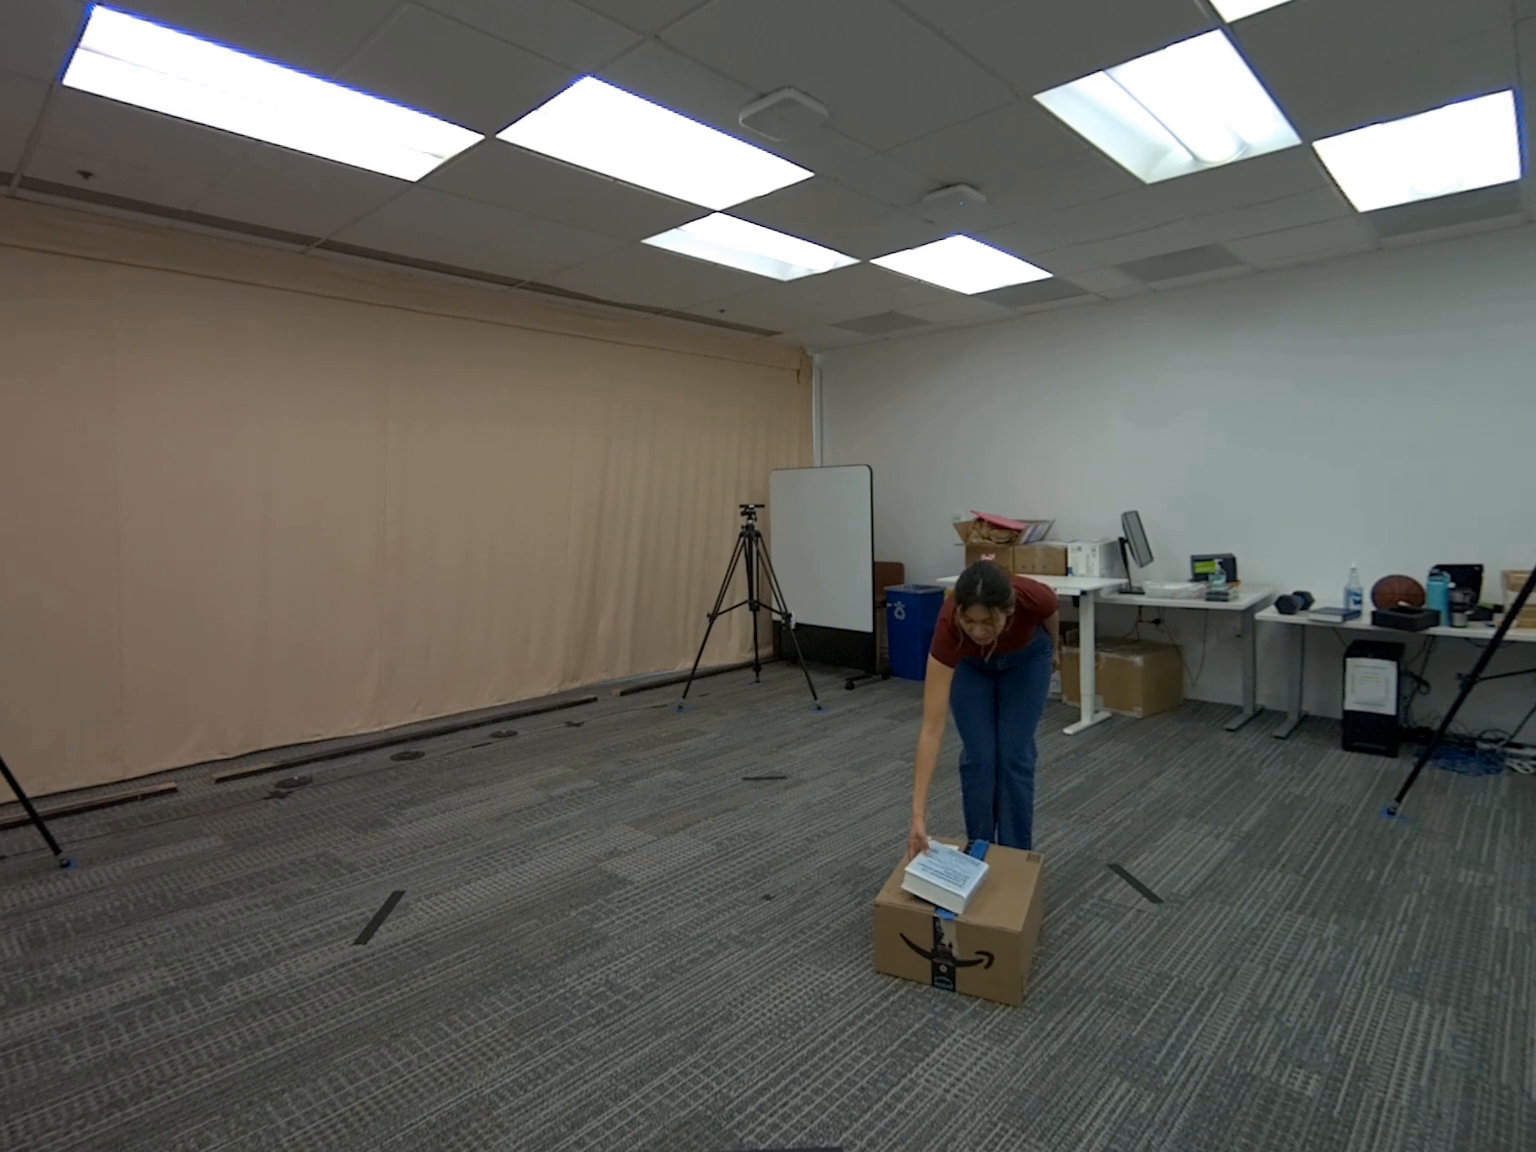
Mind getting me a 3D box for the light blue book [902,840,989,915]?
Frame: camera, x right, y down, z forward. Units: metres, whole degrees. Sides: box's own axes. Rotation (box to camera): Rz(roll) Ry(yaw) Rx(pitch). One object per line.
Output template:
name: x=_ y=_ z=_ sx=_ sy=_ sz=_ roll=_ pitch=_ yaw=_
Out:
light blue book: x=0.557 y=0.905 z=2.552 sx=0.197 sy=0.059 sz=0.254 roll=13 pitch=11 yaw=27
